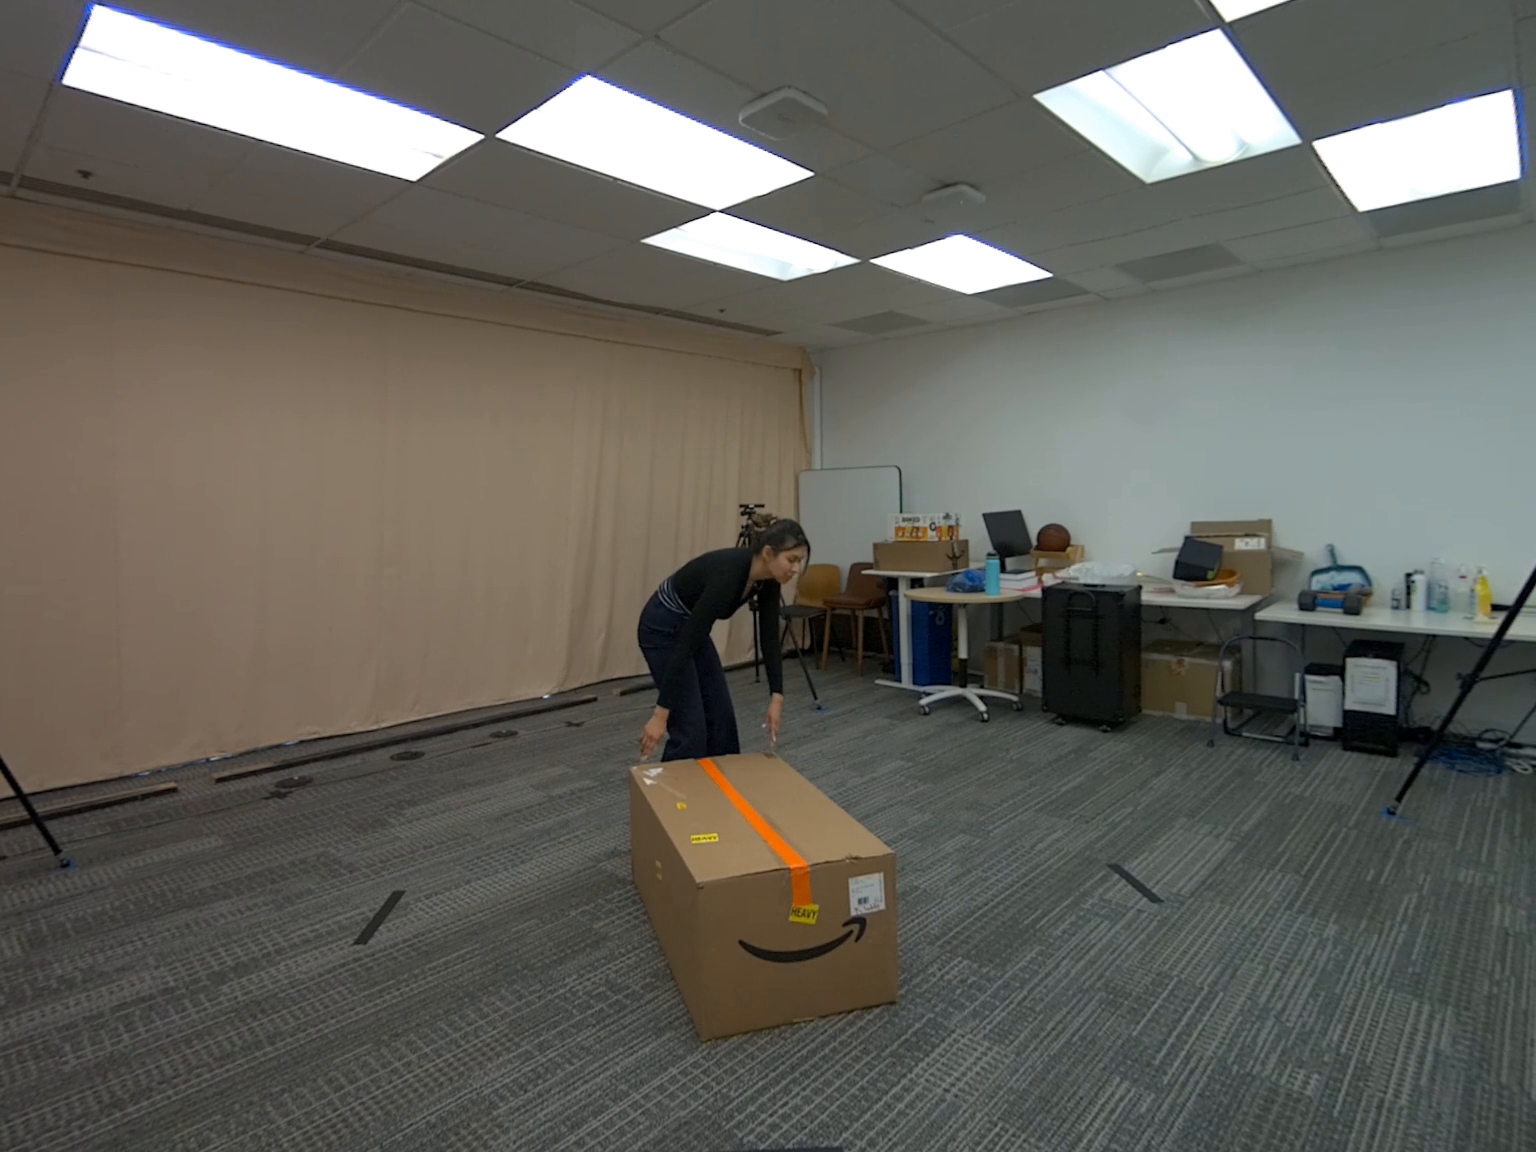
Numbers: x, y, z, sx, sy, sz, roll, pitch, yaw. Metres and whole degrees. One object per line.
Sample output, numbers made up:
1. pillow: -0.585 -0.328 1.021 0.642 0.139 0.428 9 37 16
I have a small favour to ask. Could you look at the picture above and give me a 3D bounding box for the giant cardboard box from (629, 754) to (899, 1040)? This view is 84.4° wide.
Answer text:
1. giant cardboard box: -0.070 0.942 2.742 0.567 0.425 1.047 -3 5 -19
